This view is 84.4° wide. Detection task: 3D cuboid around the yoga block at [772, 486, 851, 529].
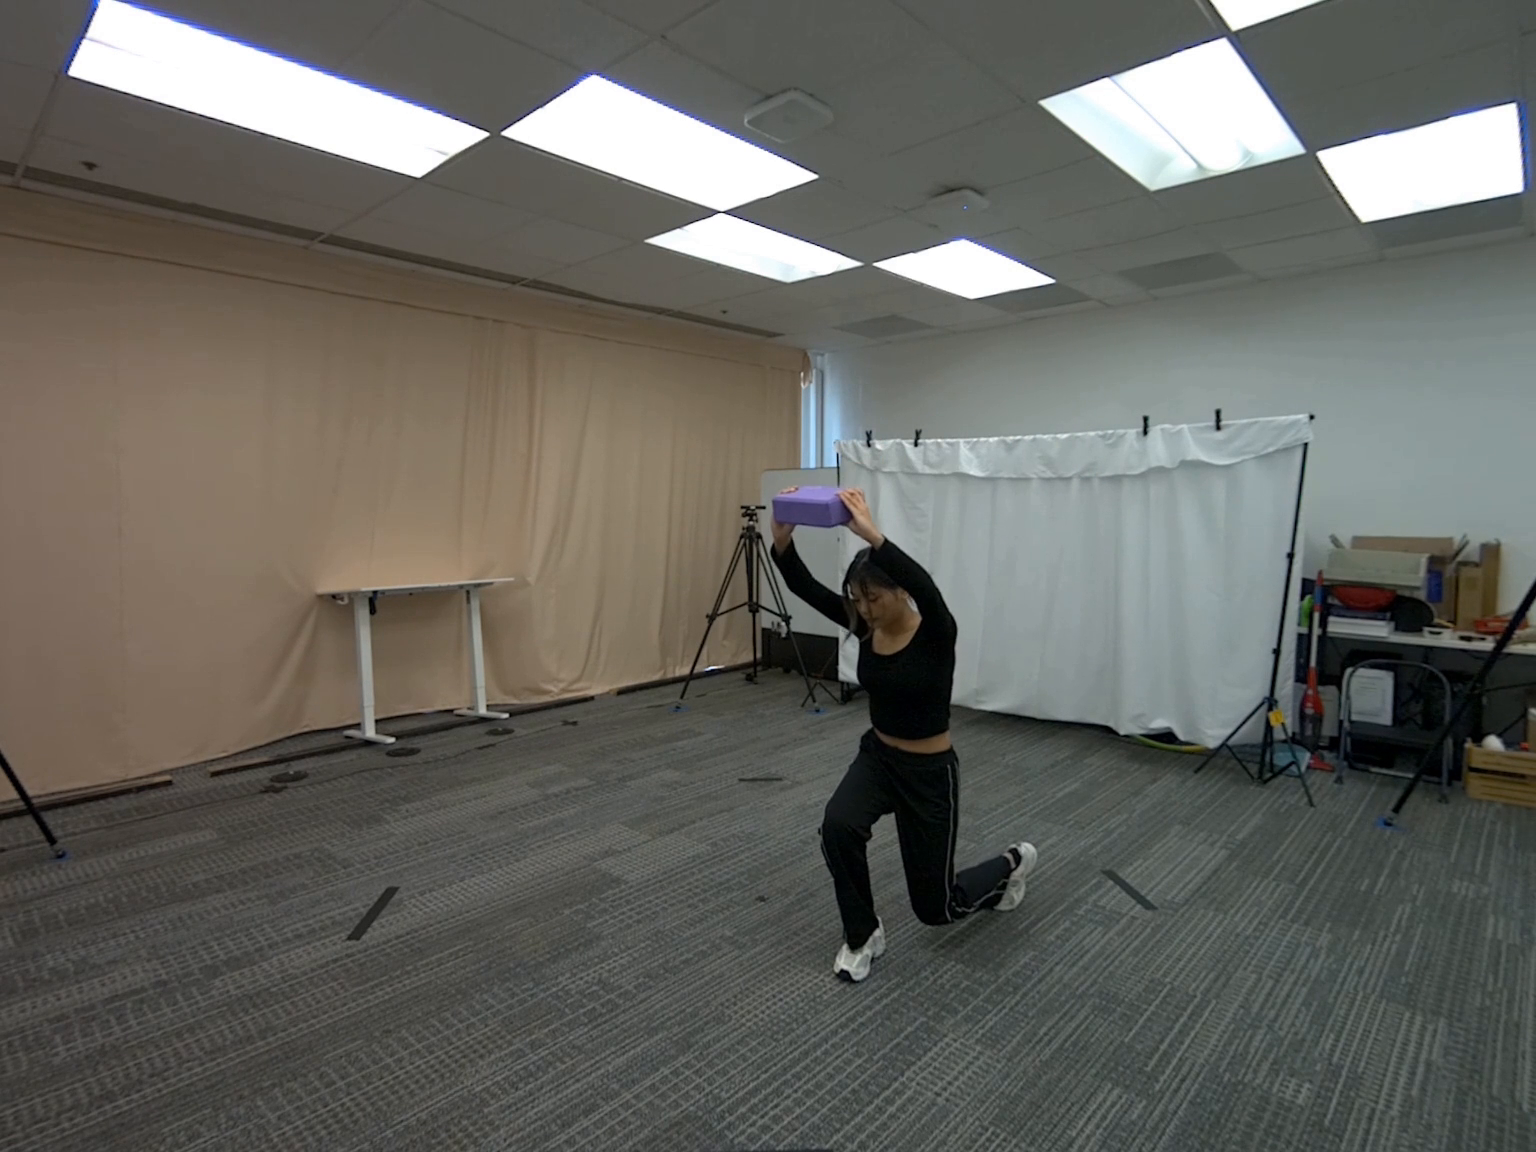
[{"bbox_3d":[0.146,-0.198,2.309,0.146,0.075,0.237,-21,20,-34],"label":"yoga block"}]
